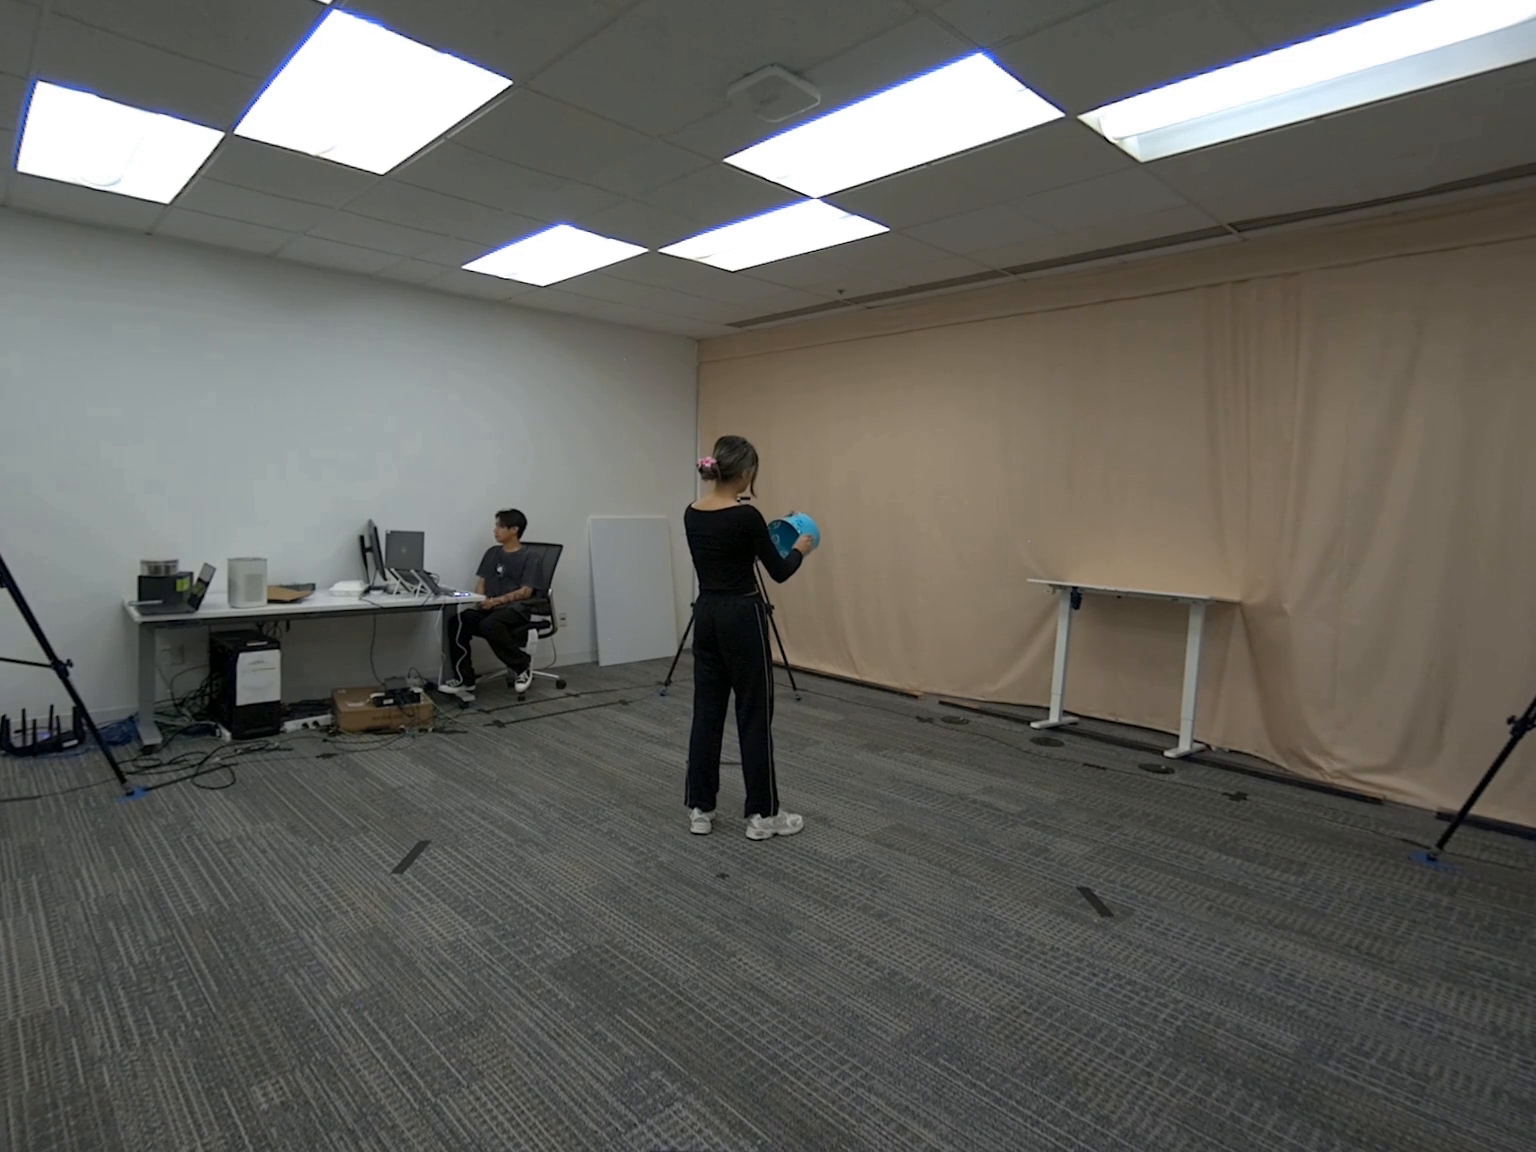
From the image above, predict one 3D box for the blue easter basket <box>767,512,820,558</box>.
[{"bbox_3d":[0.106,-0.165,3.852,0.250,0.240,0.154,5,23,43],"label":"blue easter basket"}]
